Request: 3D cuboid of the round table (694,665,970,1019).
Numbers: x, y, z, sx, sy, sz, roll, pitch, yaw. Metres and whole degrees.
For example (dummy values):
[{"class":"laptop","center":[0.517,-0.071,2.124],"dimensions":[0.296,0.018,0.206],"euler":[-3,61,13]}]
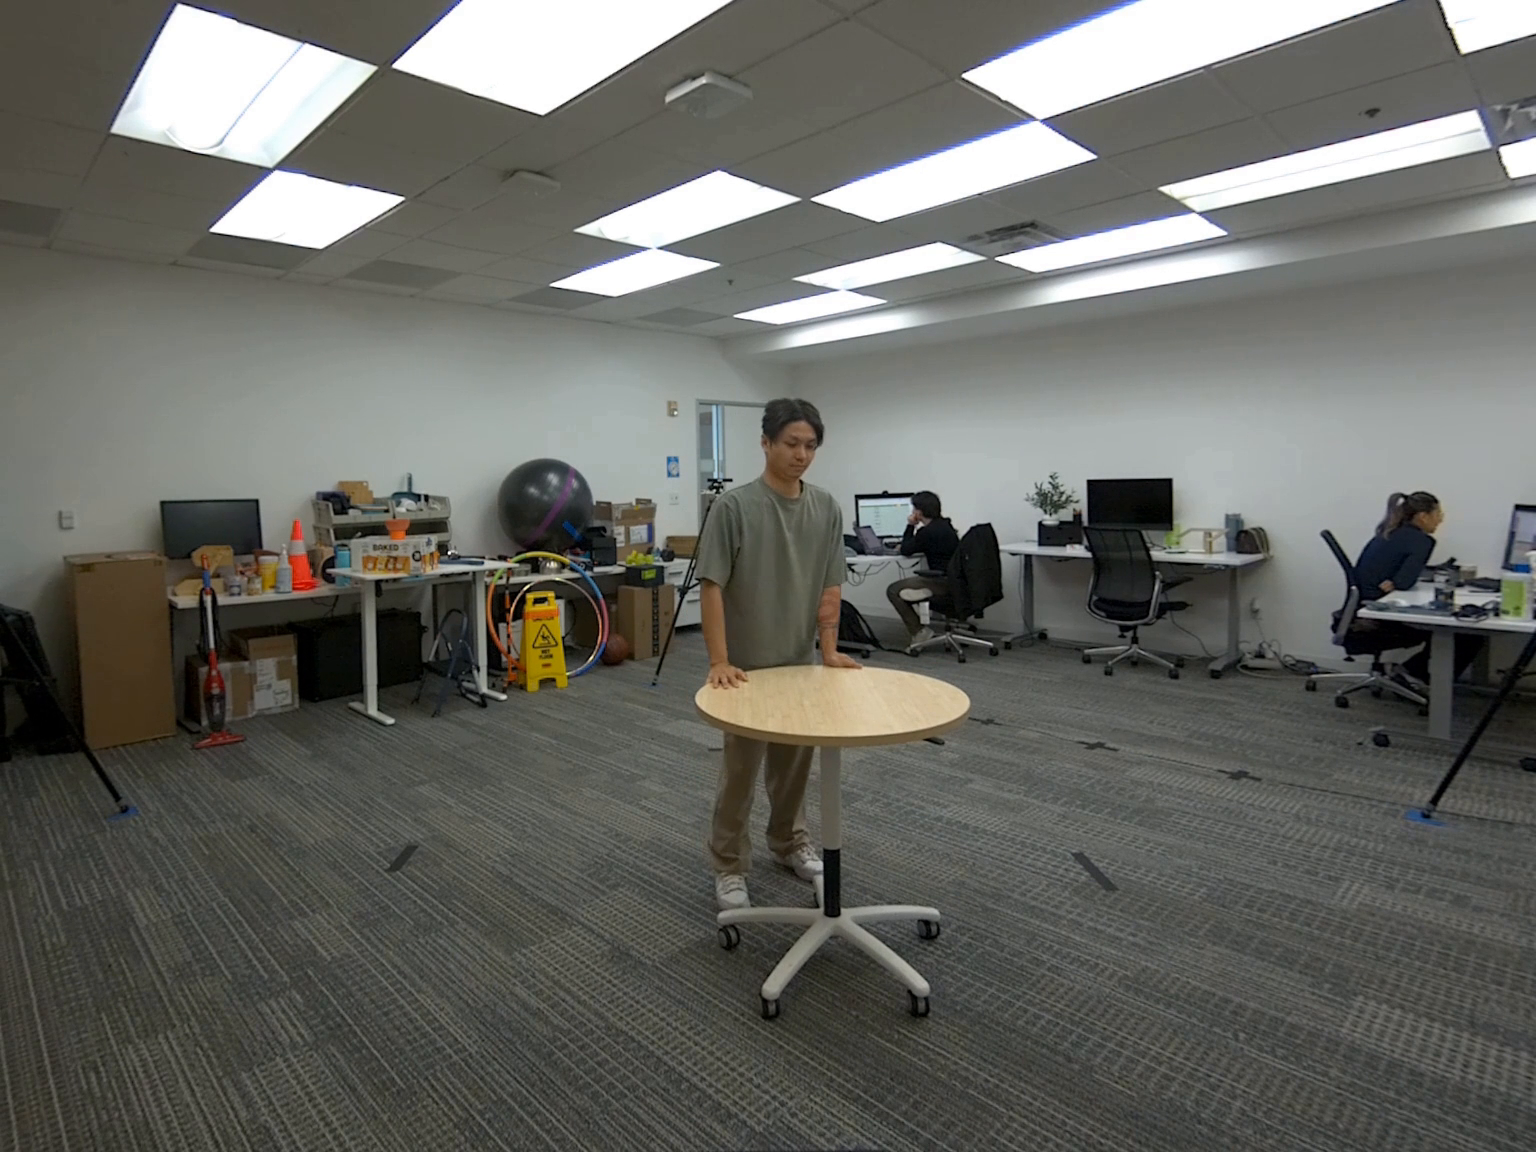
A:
[{"class":"round table","center":[0.171,0.728,2.439],"dimensions":[0.784,0.783,0.789],"euler":[-1,5,-2]}]
